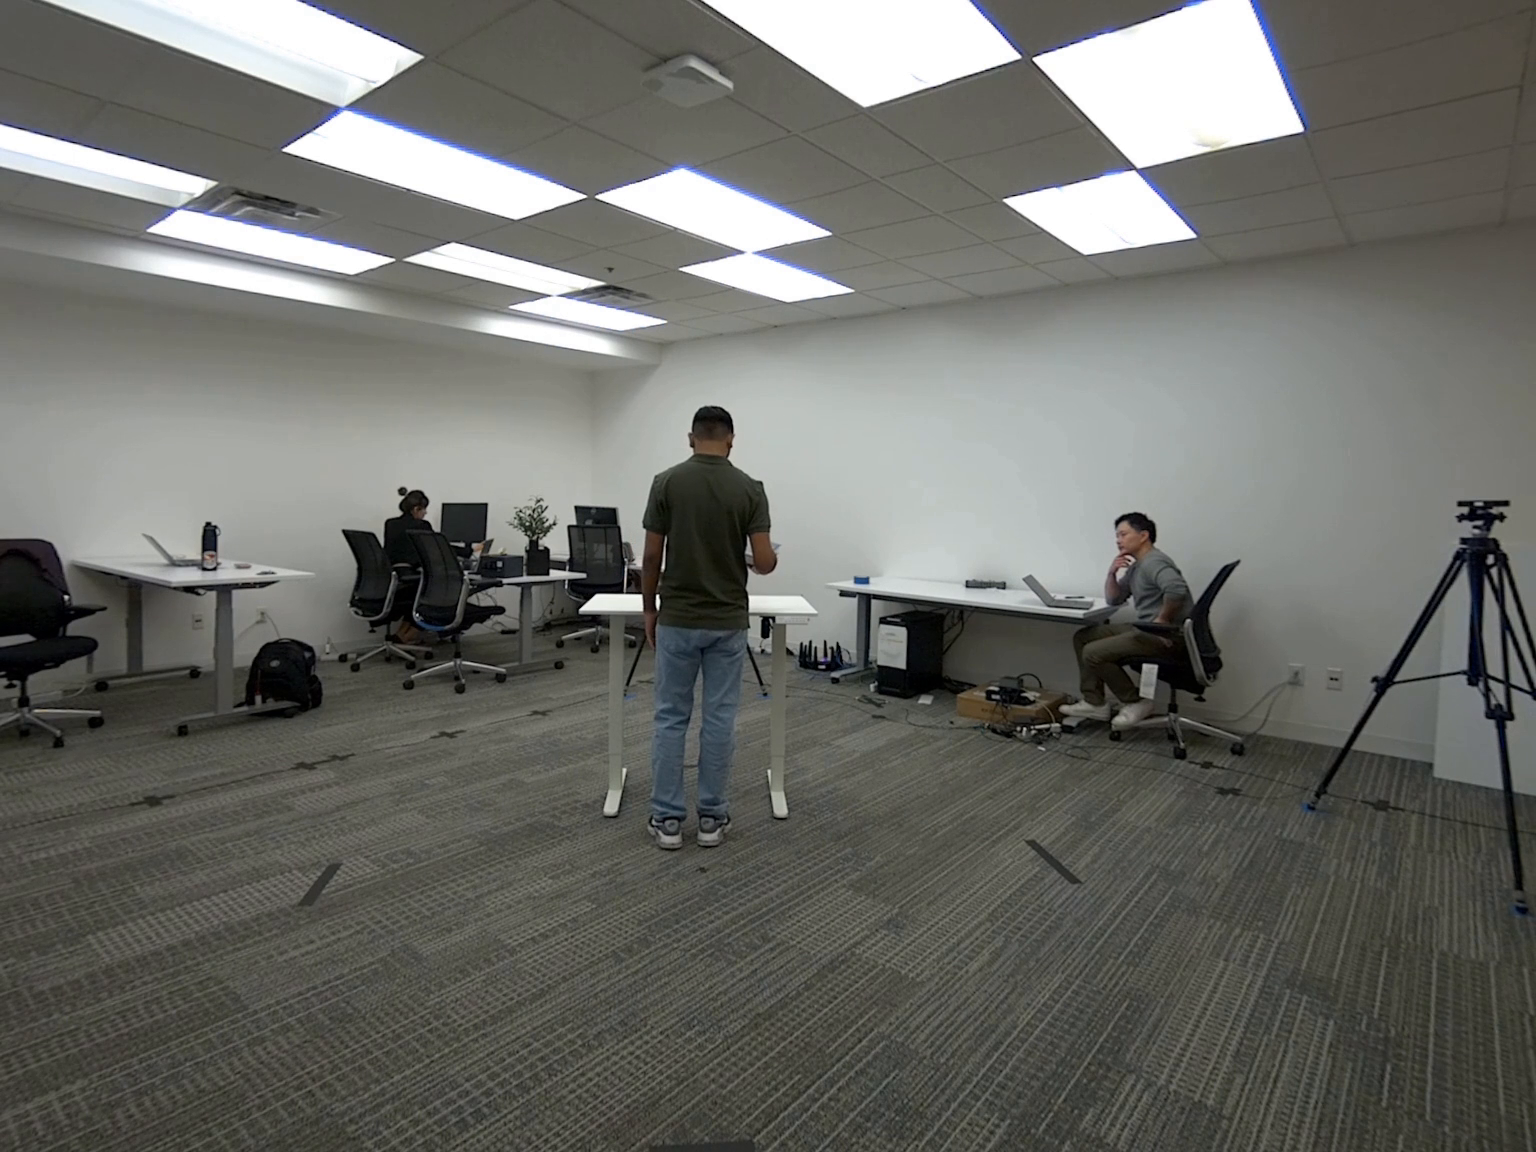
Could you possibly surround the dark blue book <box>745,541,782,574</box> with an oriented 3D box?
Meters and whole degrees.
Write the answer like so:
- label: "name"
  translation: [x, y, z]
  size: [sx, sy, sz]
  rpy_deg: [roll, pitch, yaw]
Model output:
- label: "dark blue book"
  translation: [-0.065, -0.111, 3.694]
  size: [0.167, 0.044, 0.243]
  rpy_deg: [17, 20, 17]
